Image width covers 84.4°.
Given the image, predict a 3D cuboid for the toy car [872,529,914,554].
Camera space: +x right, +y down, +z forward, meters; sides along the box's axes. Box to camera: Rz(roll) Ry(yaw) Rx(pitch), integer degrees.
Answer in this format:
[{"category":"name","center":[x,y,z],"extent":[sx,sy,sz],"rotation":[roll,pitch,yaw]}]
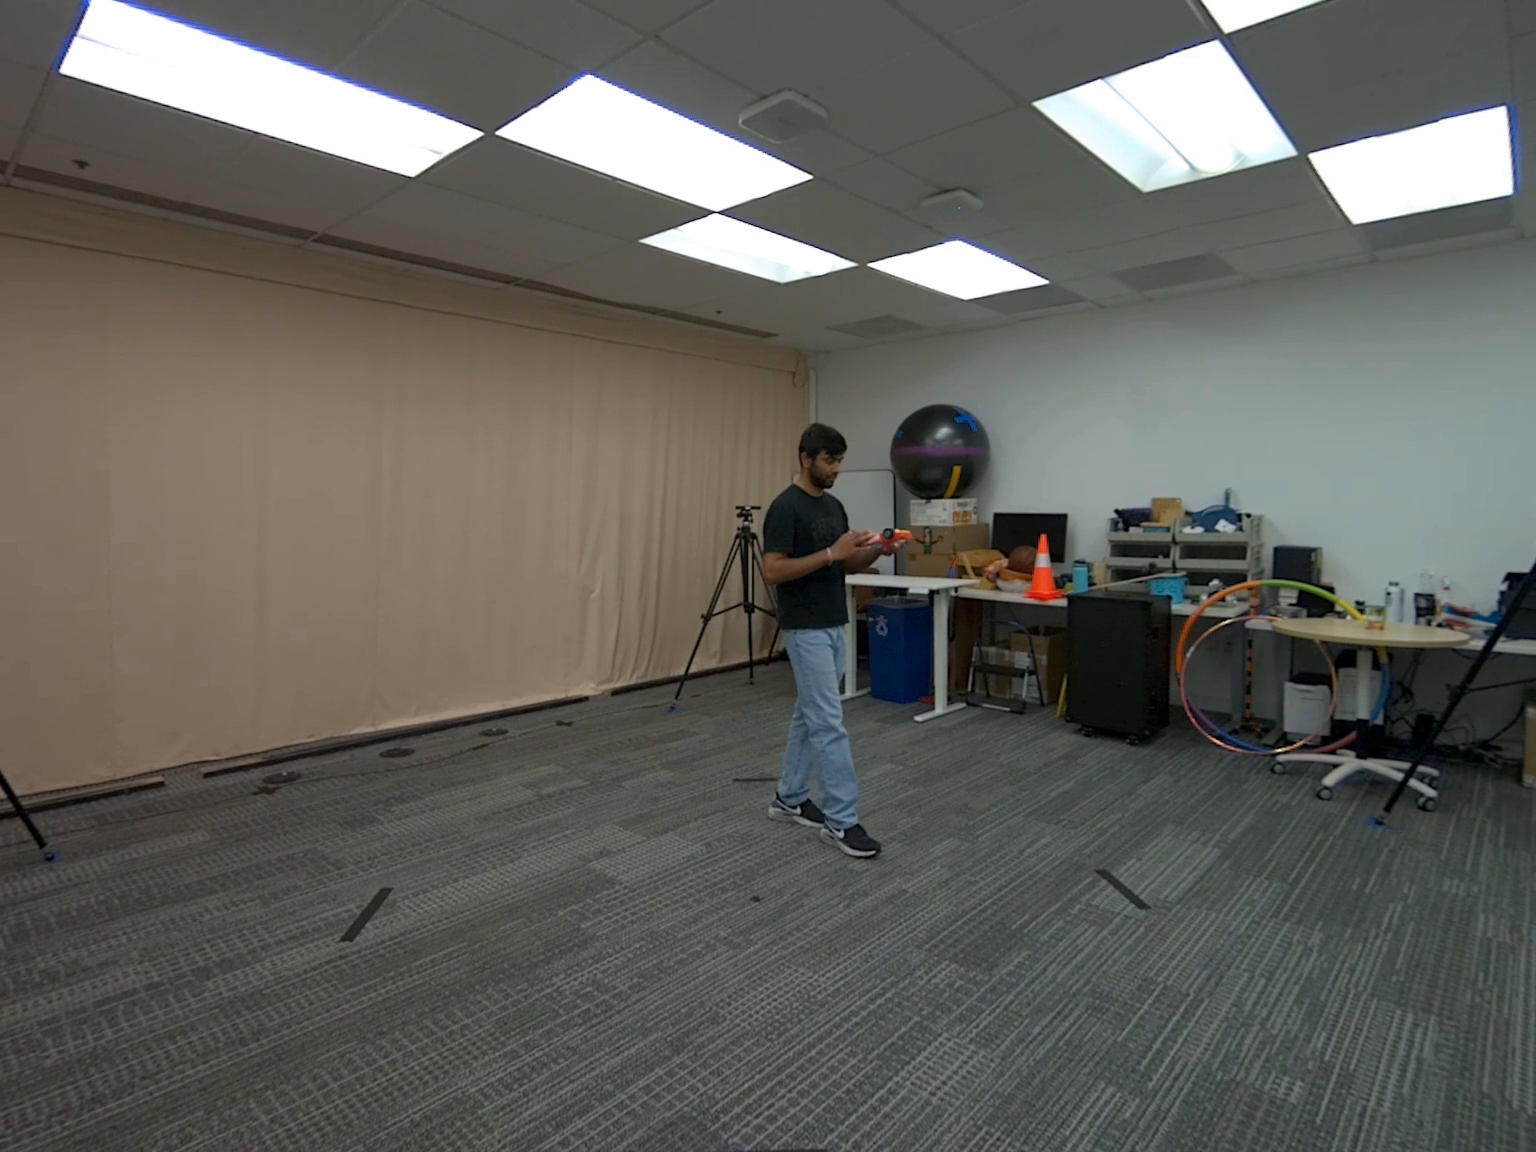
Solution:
[{"category":"toy car","center":[0.461,-0.152,3.406],"extent":[0.262,0.083,0.127],"rotation":[1,2,29]}]
